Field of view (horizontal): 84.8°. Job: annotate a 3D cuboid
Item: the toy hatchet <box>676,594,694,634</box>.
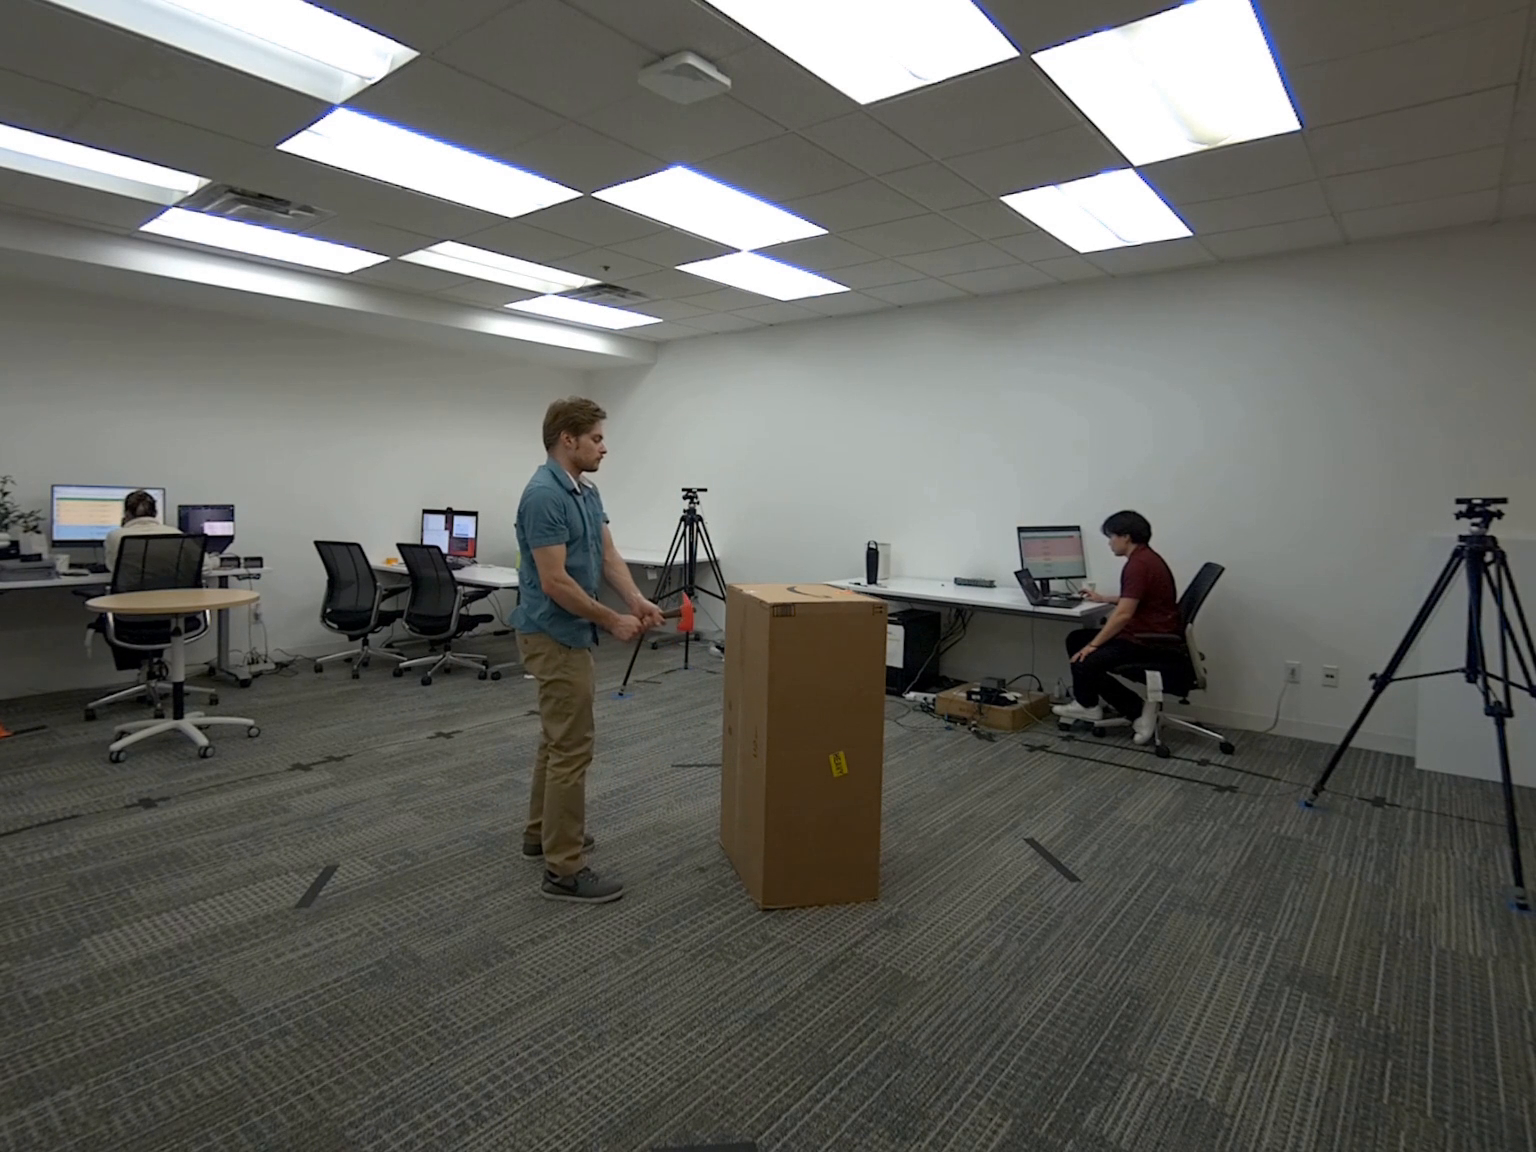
[{"bbox_3d":[-0.386,0.186,3.000,0.271,0.129,0.030,-30,9,6],"label":"toy hatchet"}]
